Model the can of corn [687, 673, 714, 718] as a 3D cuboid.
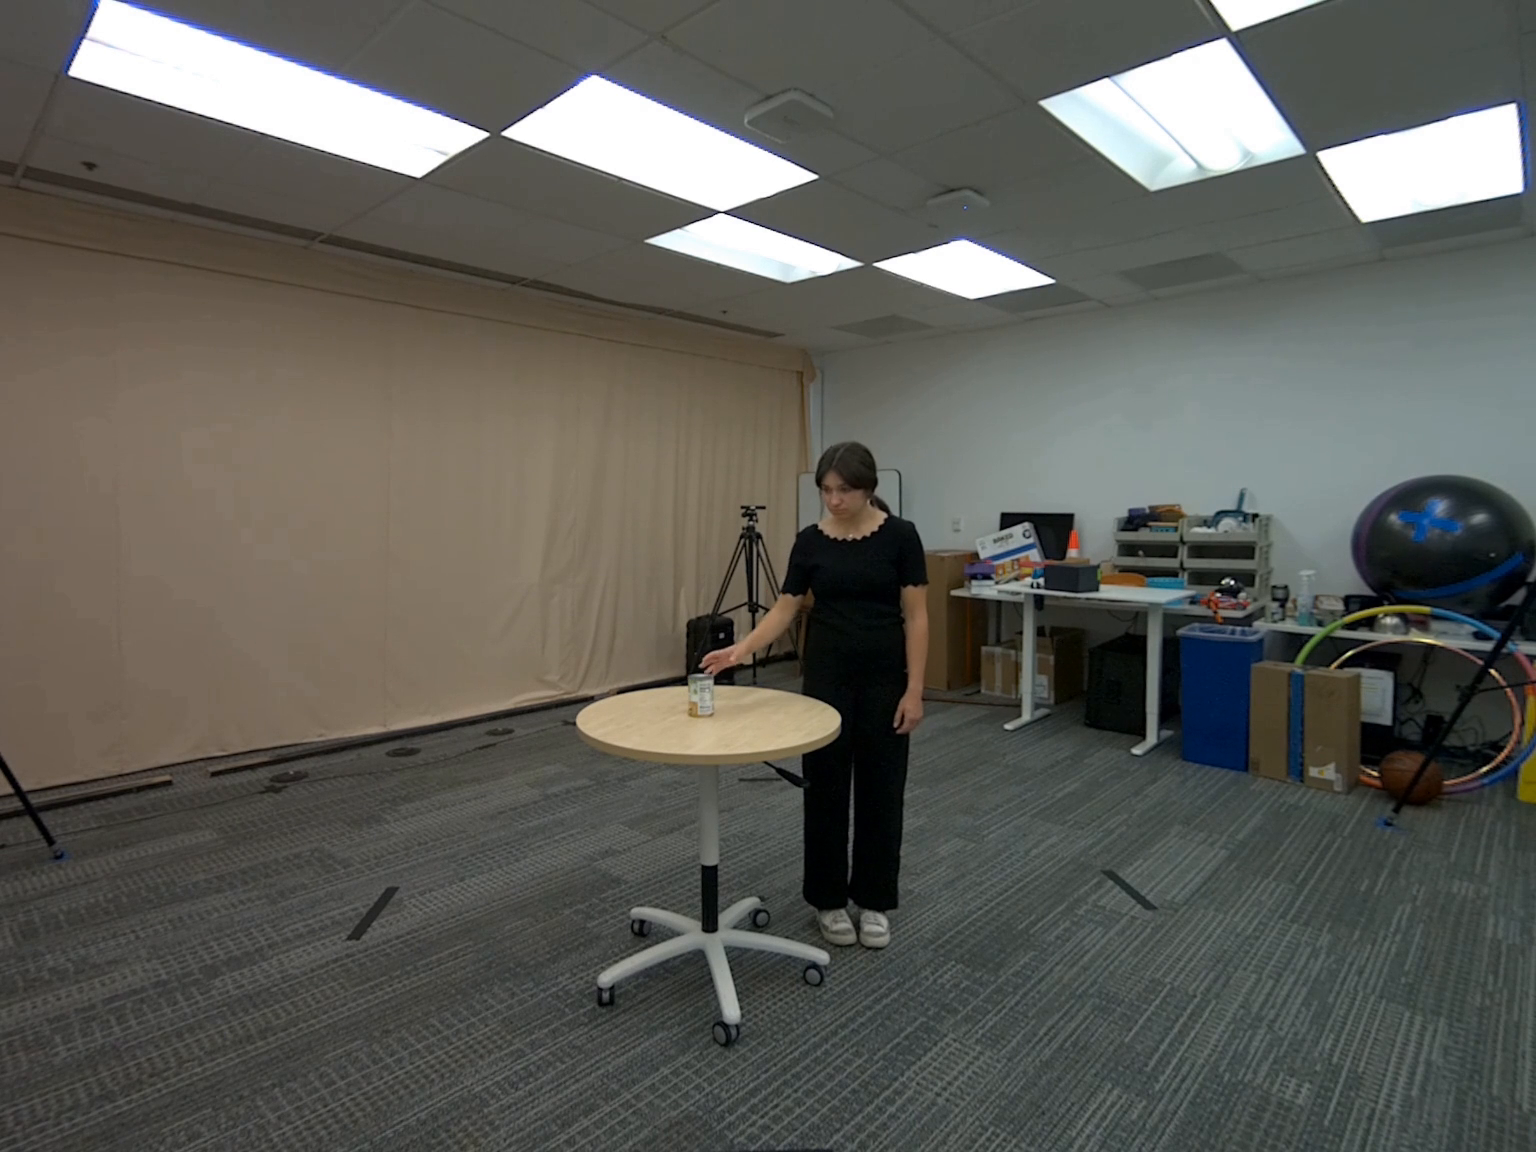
[{"bbox_3d":[-0.195,0.351,2.449,0.074,0.111,0.074,-2,4,-2],"label":"can of corn"}]
